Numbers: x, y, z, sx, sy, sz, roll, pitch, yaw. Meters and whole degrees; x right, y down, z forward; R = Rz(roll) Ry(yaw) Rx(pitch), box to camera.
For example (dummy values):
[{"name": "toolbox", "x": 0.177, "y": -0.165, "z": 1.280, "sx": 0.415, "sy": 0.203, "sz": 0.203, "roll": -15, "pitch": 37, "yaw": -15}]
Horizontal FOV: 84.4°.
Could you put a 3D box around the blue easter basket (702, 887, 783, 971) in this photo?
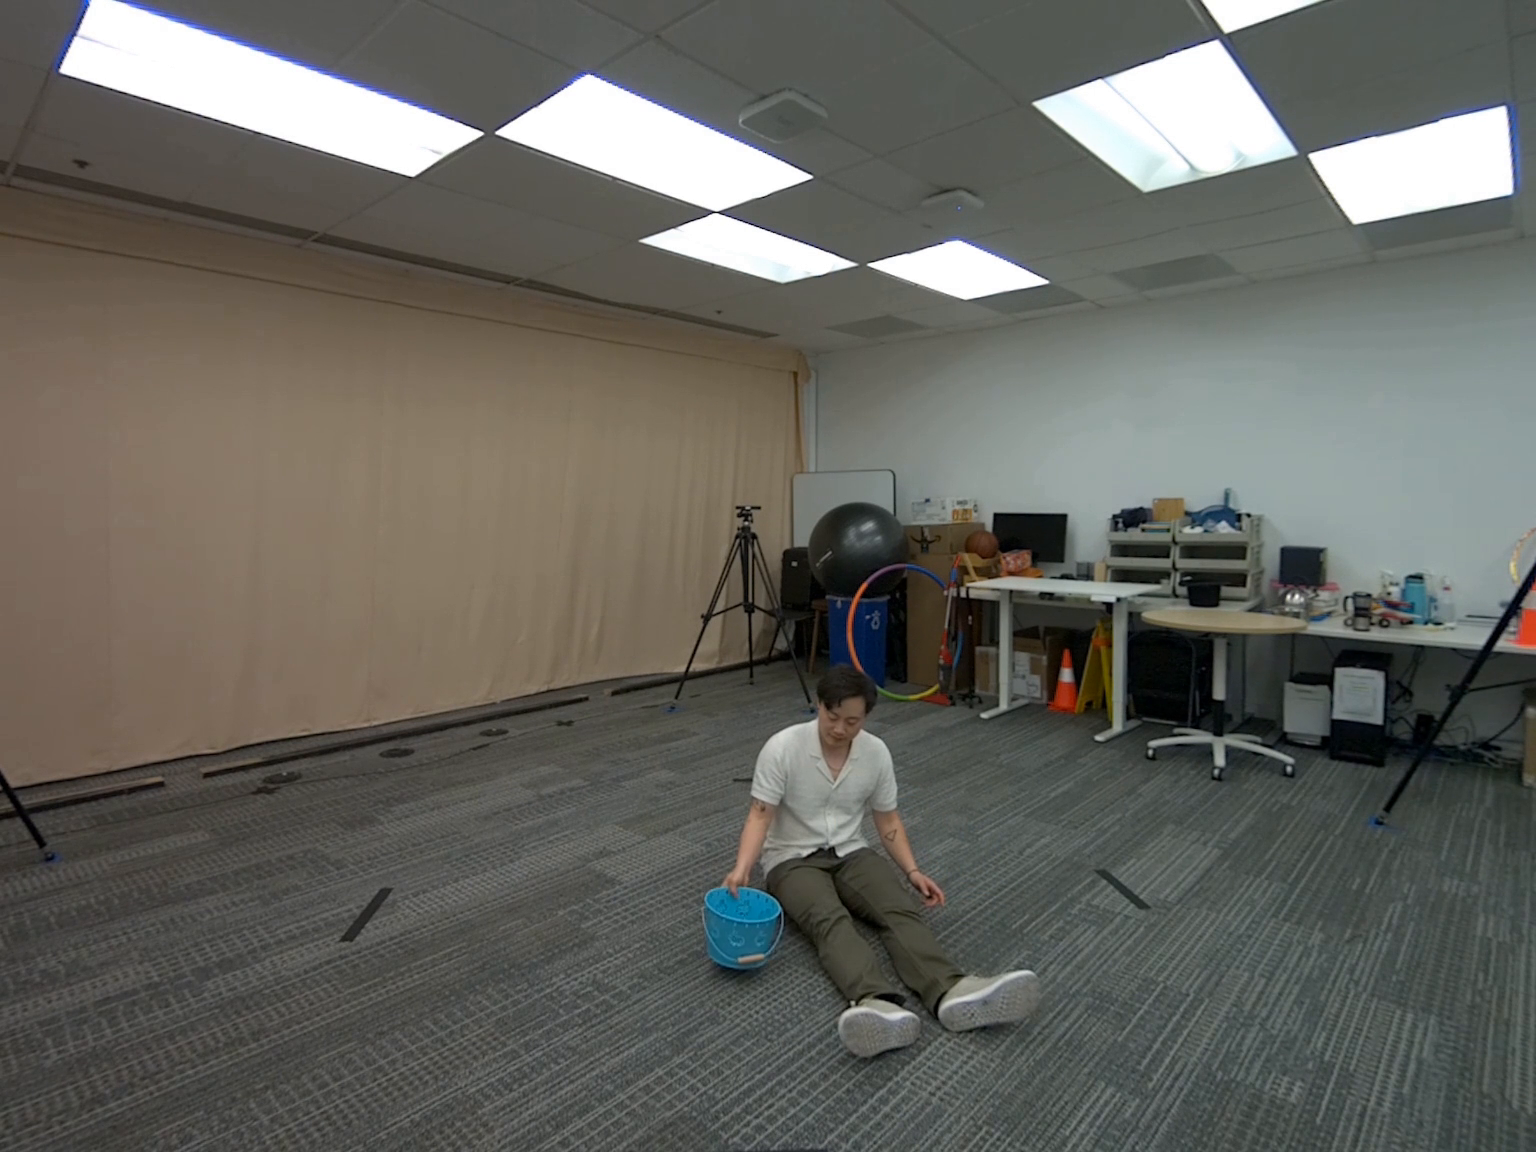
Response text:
[{"name": "blue easter basket", "x": -0.082, "y": 1.055, "z": 2.517, "sx": 0.243, "sy": 0.156, "sz": 0.244, "roll": 5, "pitch": 2, "yaw": -2}]
